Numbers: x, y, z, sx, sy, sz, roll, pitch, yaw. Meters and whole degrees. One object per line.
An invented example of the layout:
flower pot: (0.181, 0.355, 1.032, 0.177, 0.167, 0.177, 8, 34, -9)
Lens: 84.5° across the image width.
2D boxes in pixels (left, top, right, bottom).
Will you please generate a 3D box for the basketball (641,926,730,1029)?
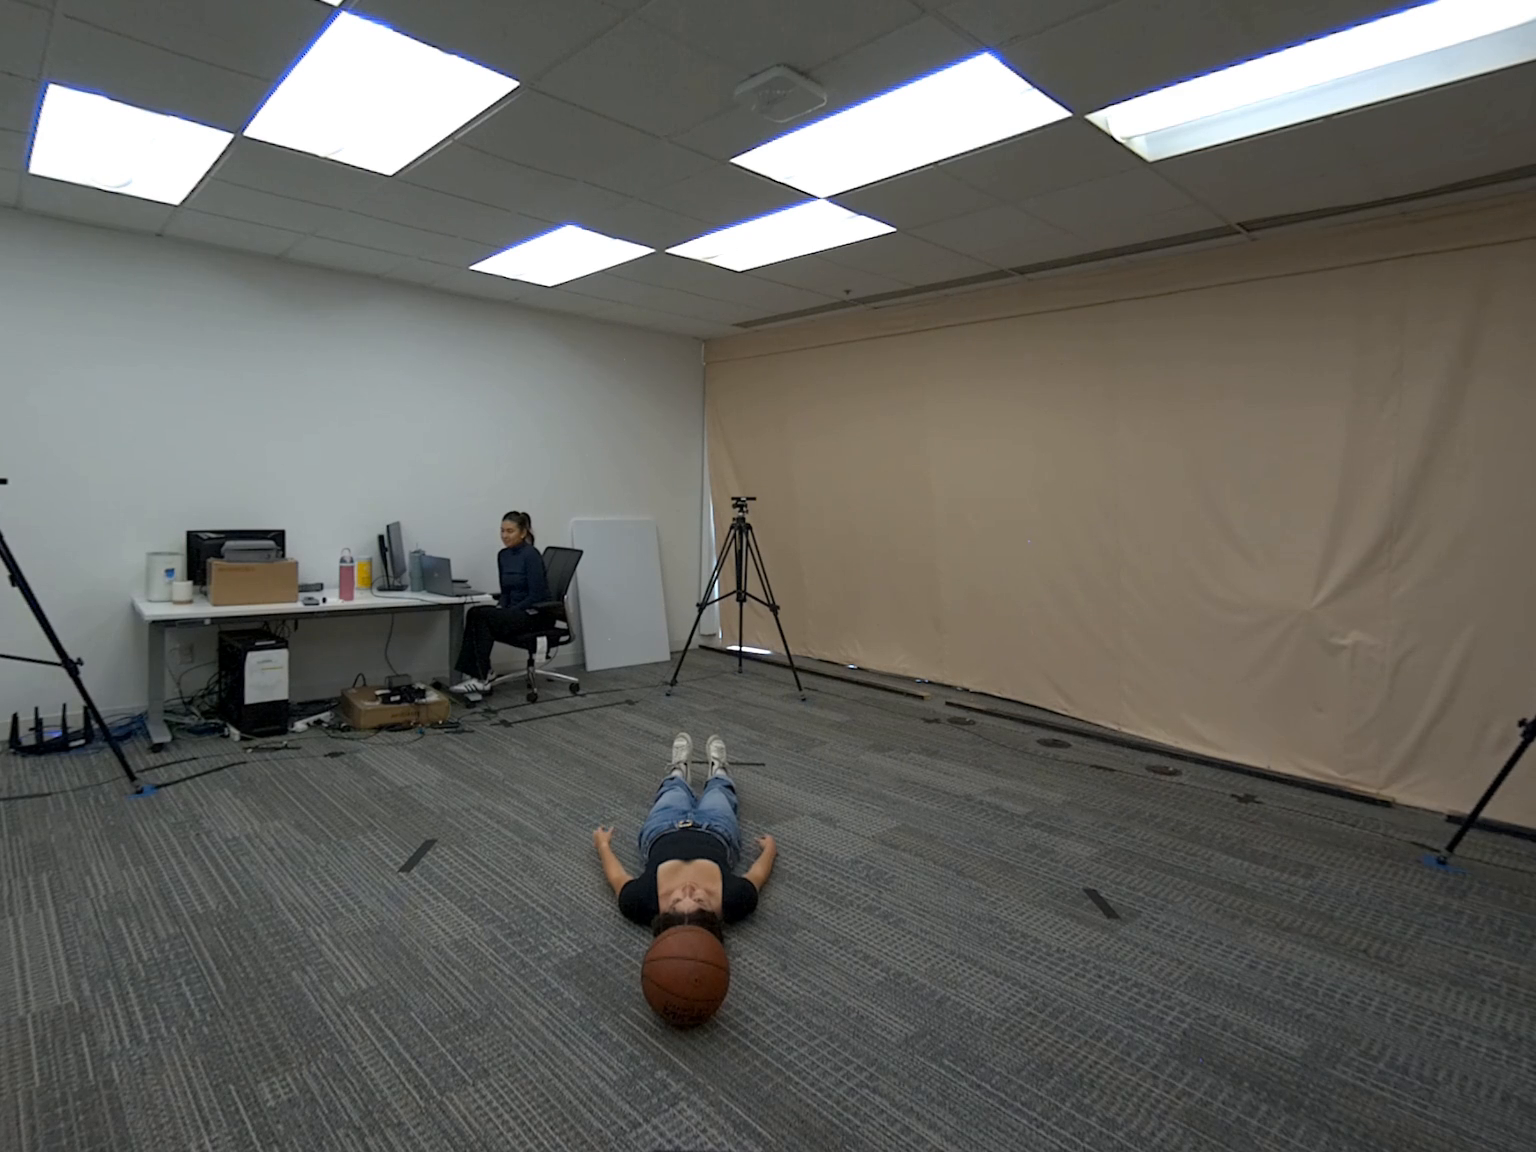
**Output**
basketball: (-0.222, 1.066, 2.239, 0.236, 0.235, 0.237, 1, 4, -1)
